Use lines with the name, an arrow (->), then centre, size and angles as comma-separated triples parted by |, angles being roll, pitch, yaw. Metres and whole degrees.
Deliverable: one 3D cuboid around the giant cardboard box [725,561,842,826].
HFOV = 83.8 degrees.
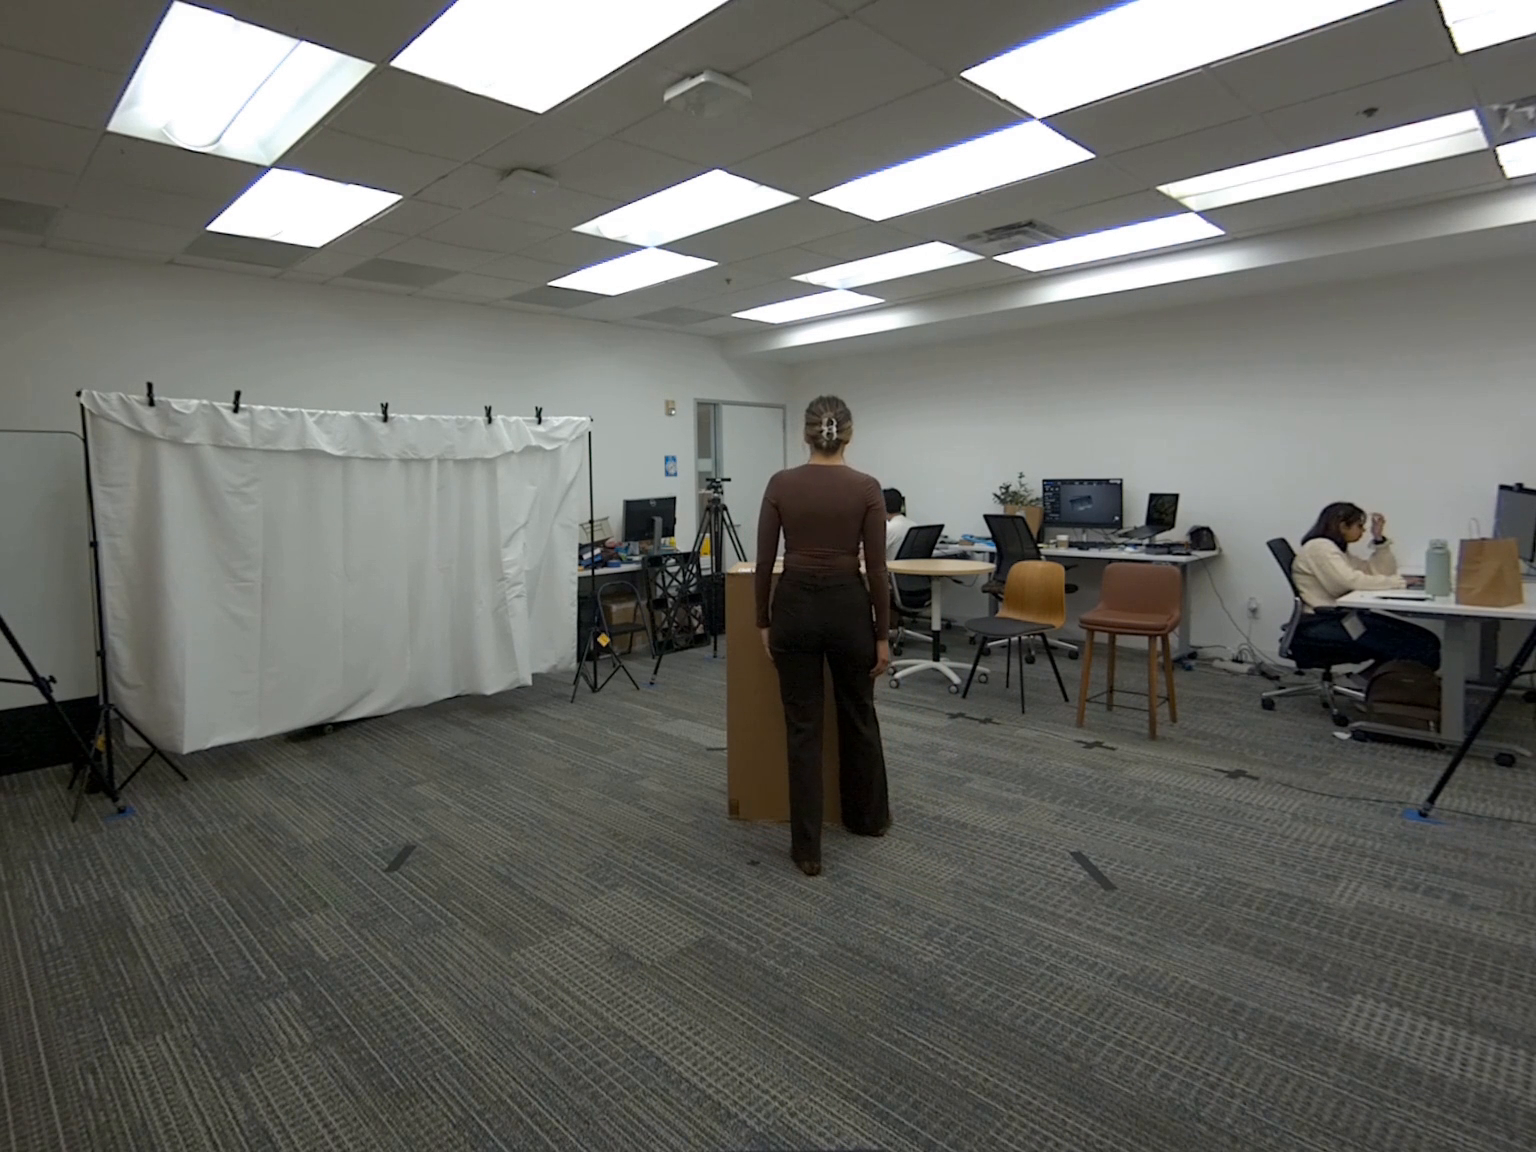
giant cardboard box -> 0.138, 0.465, 3.639 | 0.589, 1.023, 0.444 | 0, 4, 9
